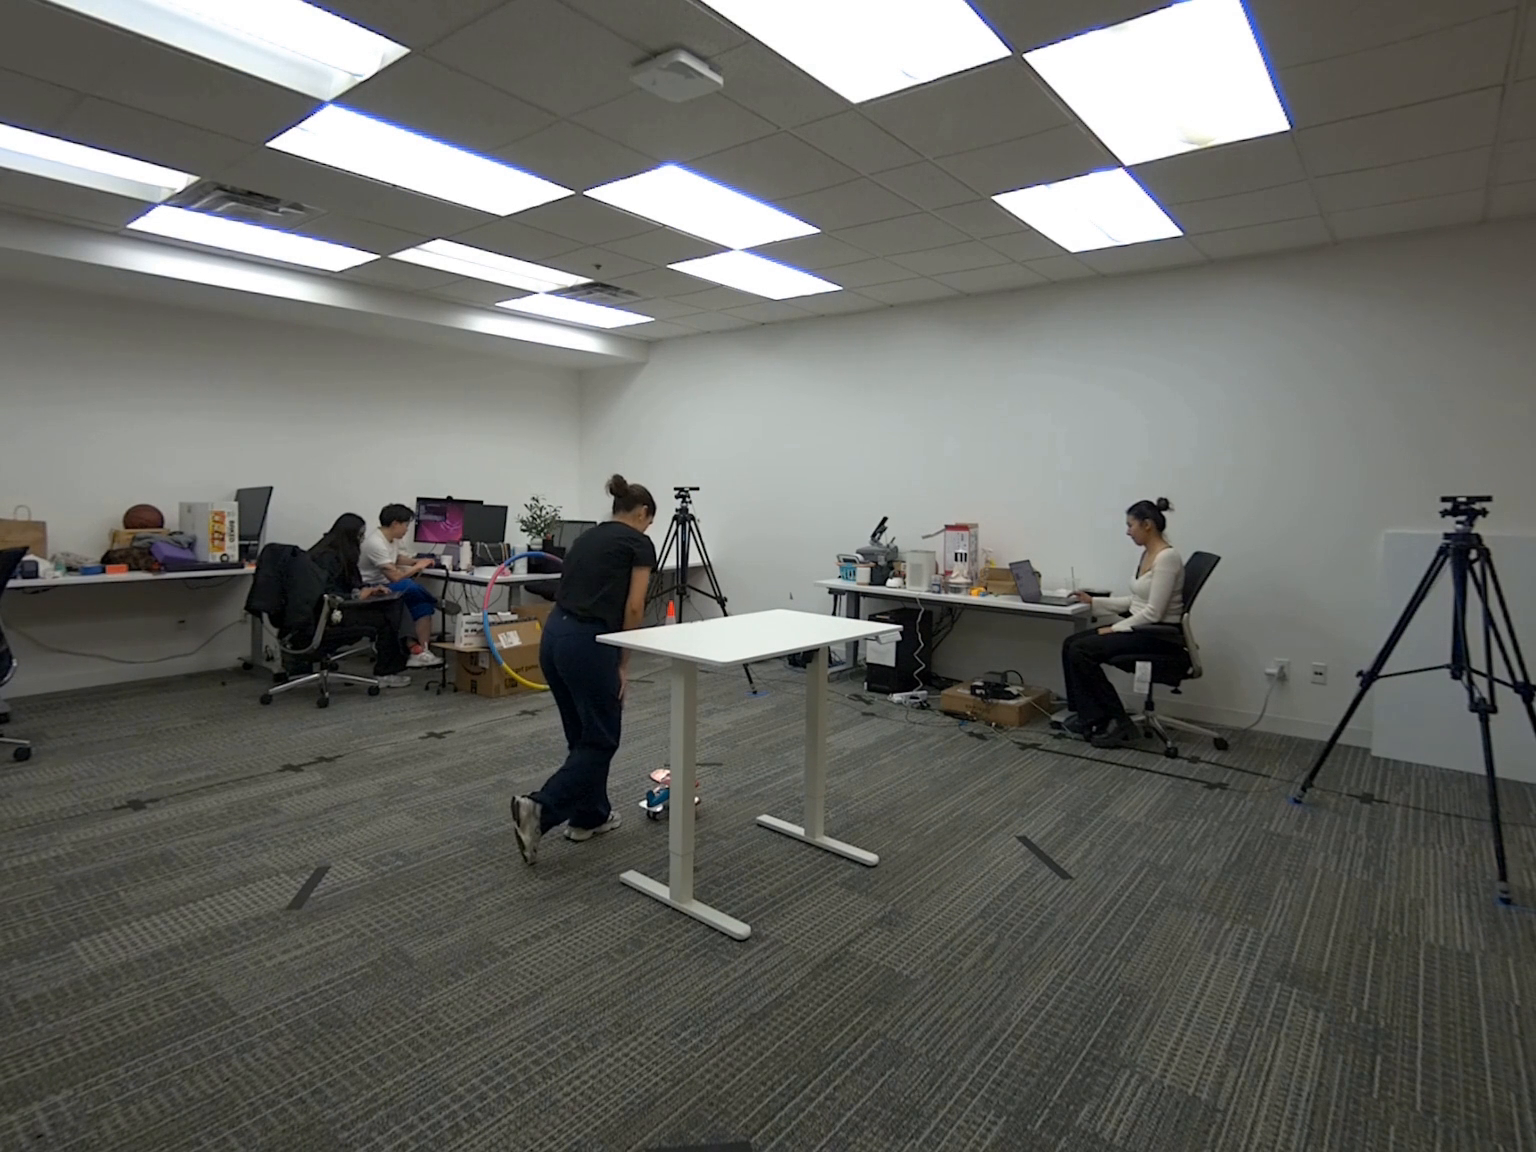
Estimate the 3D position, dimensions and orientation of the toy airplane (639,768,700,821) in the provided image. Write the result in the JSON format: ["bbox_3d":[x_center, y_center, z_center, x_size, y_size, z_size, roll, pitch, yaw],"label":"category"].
[{"bbox_3d":[-0.387,0.936,3.645,0.255,0.156,0.256,3,4,12],"label":"toy airplane"}]
